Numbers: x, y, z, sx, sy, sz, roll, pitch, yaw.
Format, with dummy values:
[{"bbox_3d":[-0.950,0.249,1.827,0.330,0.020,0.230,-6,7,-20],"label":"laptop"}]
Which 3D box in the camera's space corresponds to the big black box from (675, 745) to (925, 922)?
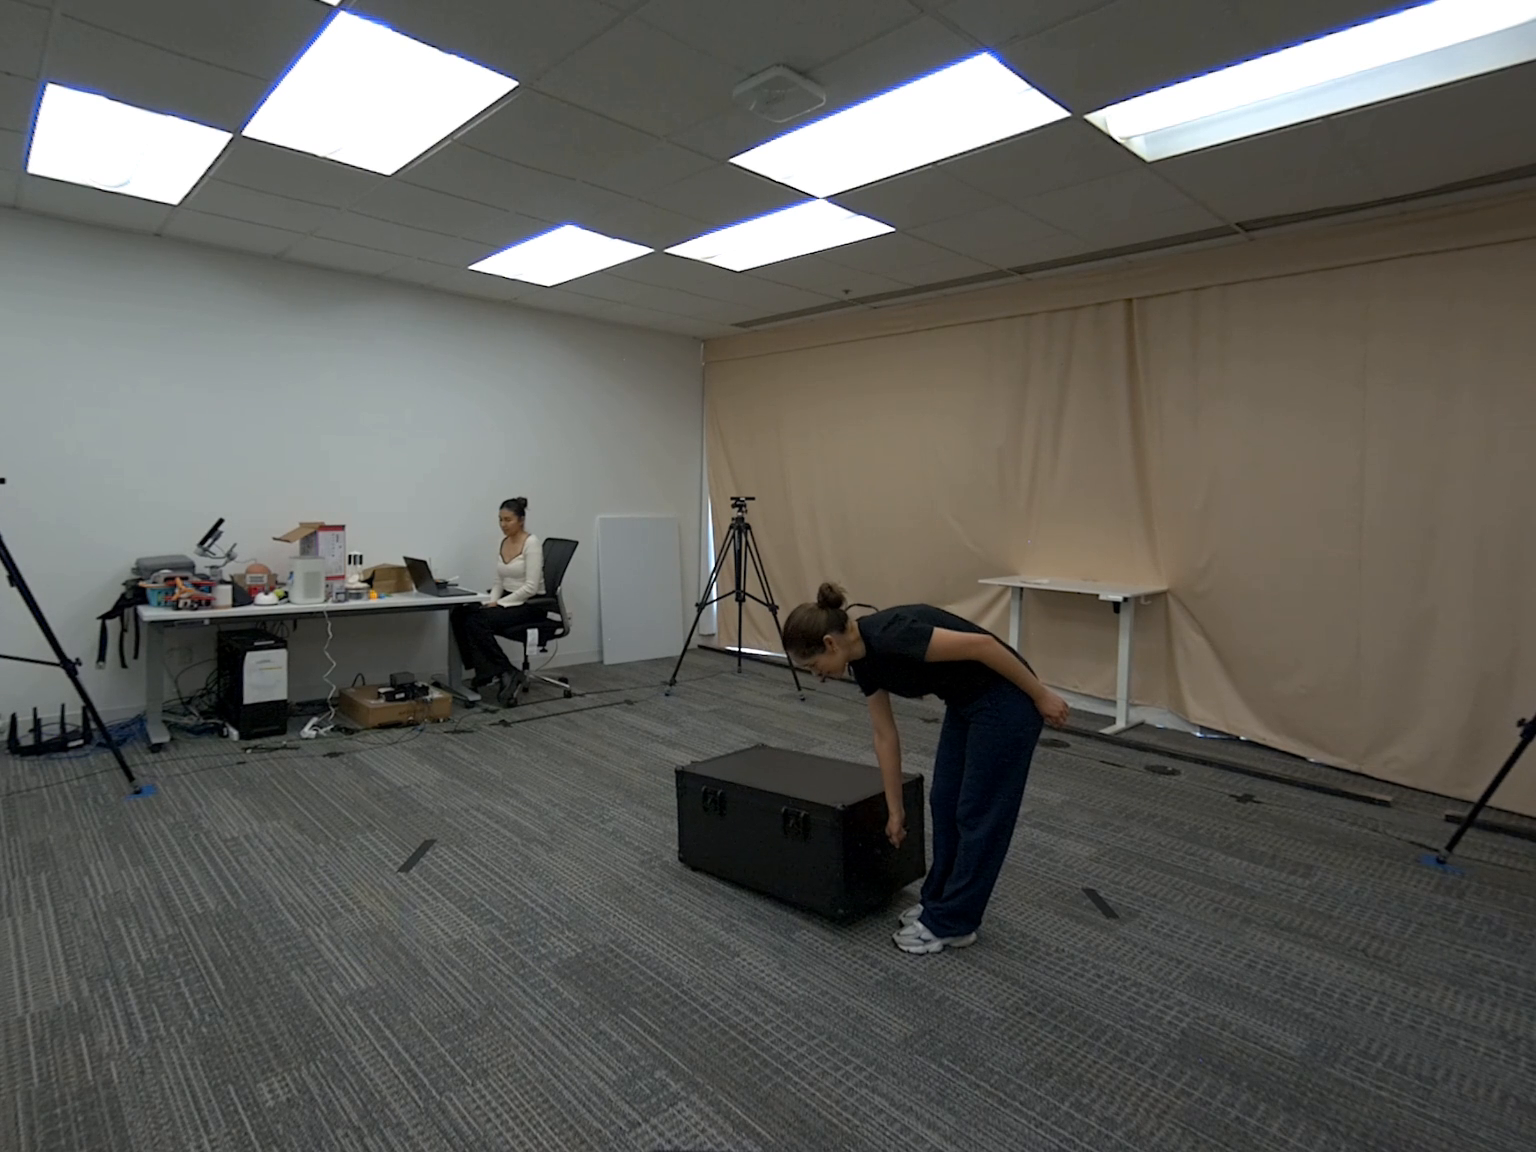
[{"bbox_3d":[0.080,0.903,3.092,0.882,0.396,0.509,1,3,43],"label":"big black box"}]
